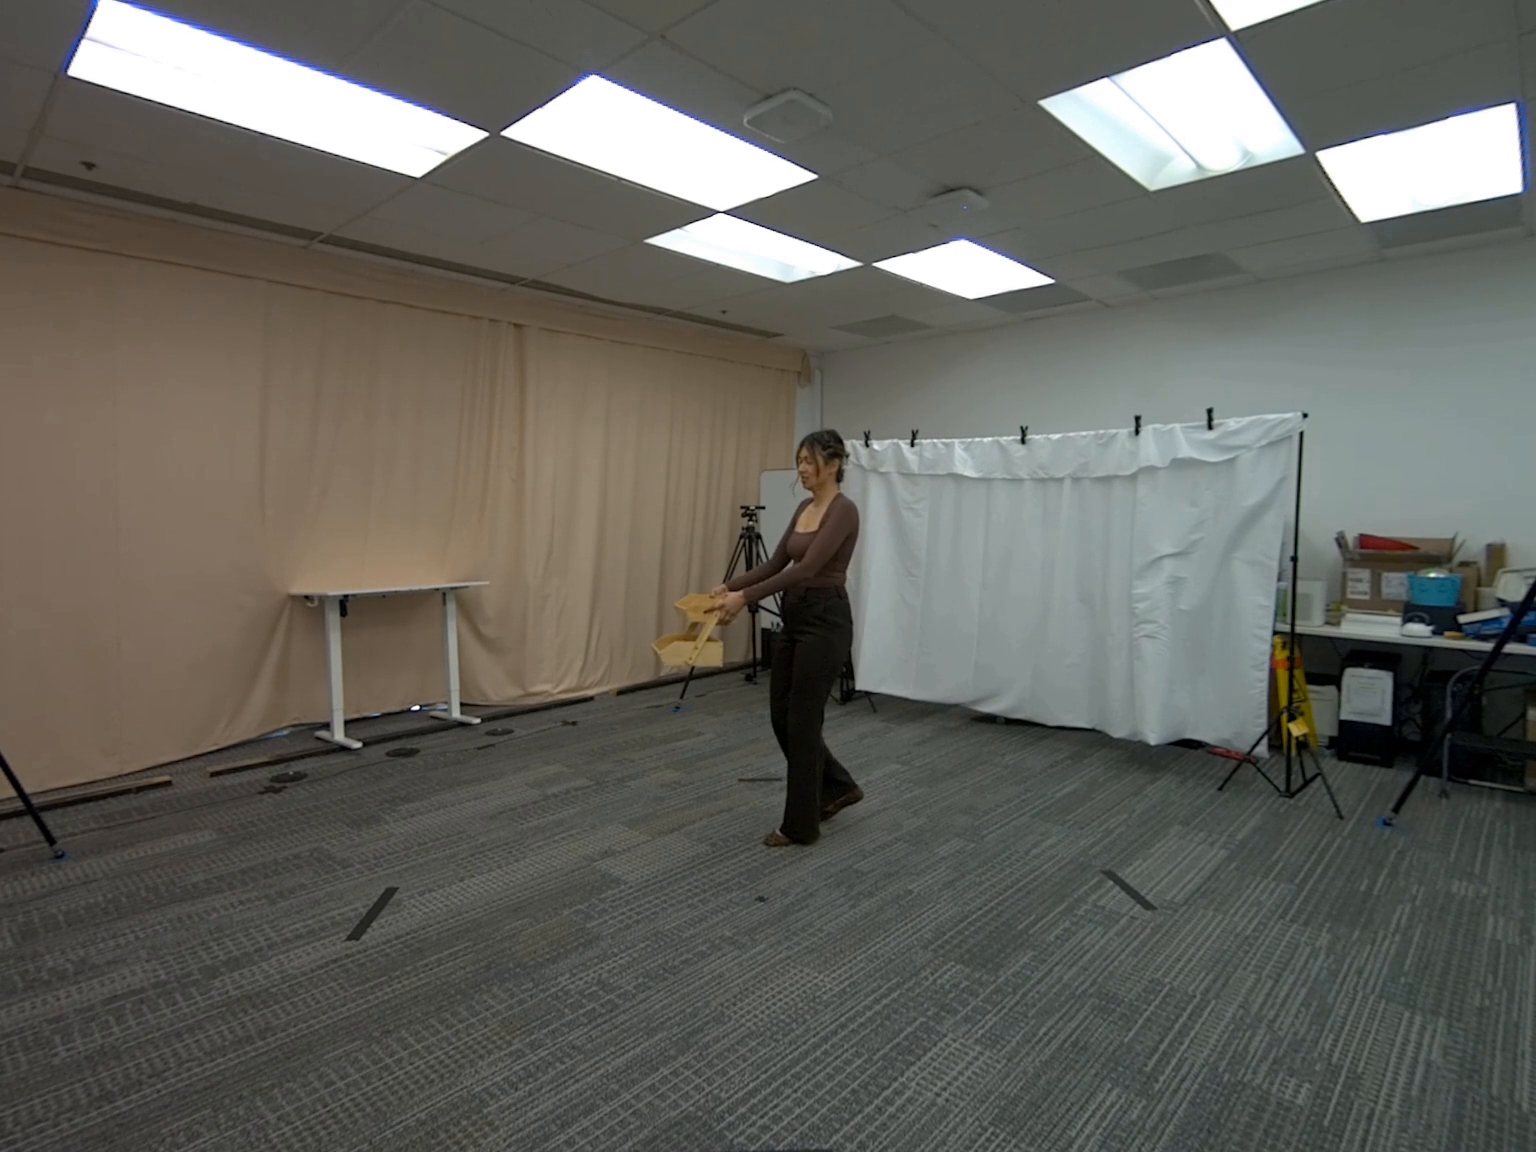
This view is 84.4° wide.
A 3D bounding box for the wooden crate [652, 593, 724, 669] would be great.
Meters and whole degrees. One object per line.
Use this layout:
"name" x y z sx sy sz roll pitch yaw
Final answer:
"wooden crate" -0.295 0.211 3.400 0.299 0.273 0.328 2 0 -11
